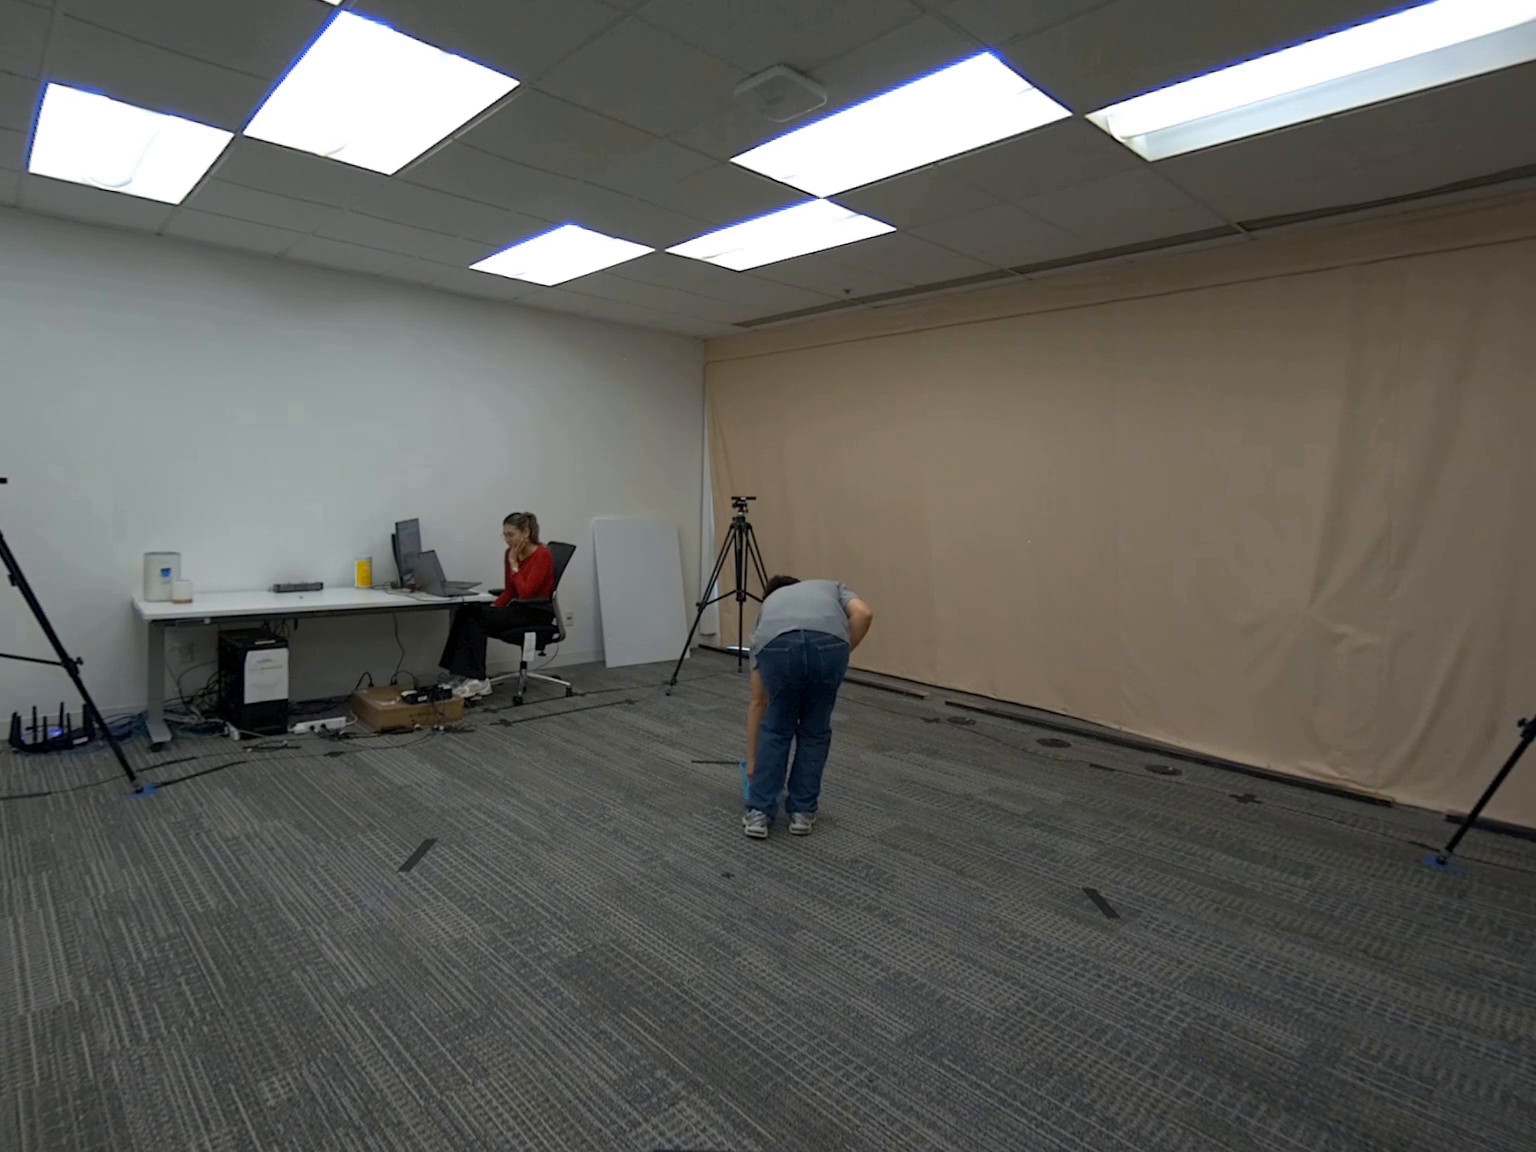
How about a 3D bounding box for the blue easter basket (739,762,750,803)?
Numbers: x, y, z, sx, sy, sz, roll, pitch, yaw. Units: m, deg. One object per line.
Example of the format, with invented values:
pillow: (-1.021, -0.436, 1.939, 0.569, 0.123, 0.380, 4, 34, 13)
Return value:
blue easter basket: (-0.022, 0.955, 3.926, 0.243, 0.156, 0.244, 3, 2, -1)
